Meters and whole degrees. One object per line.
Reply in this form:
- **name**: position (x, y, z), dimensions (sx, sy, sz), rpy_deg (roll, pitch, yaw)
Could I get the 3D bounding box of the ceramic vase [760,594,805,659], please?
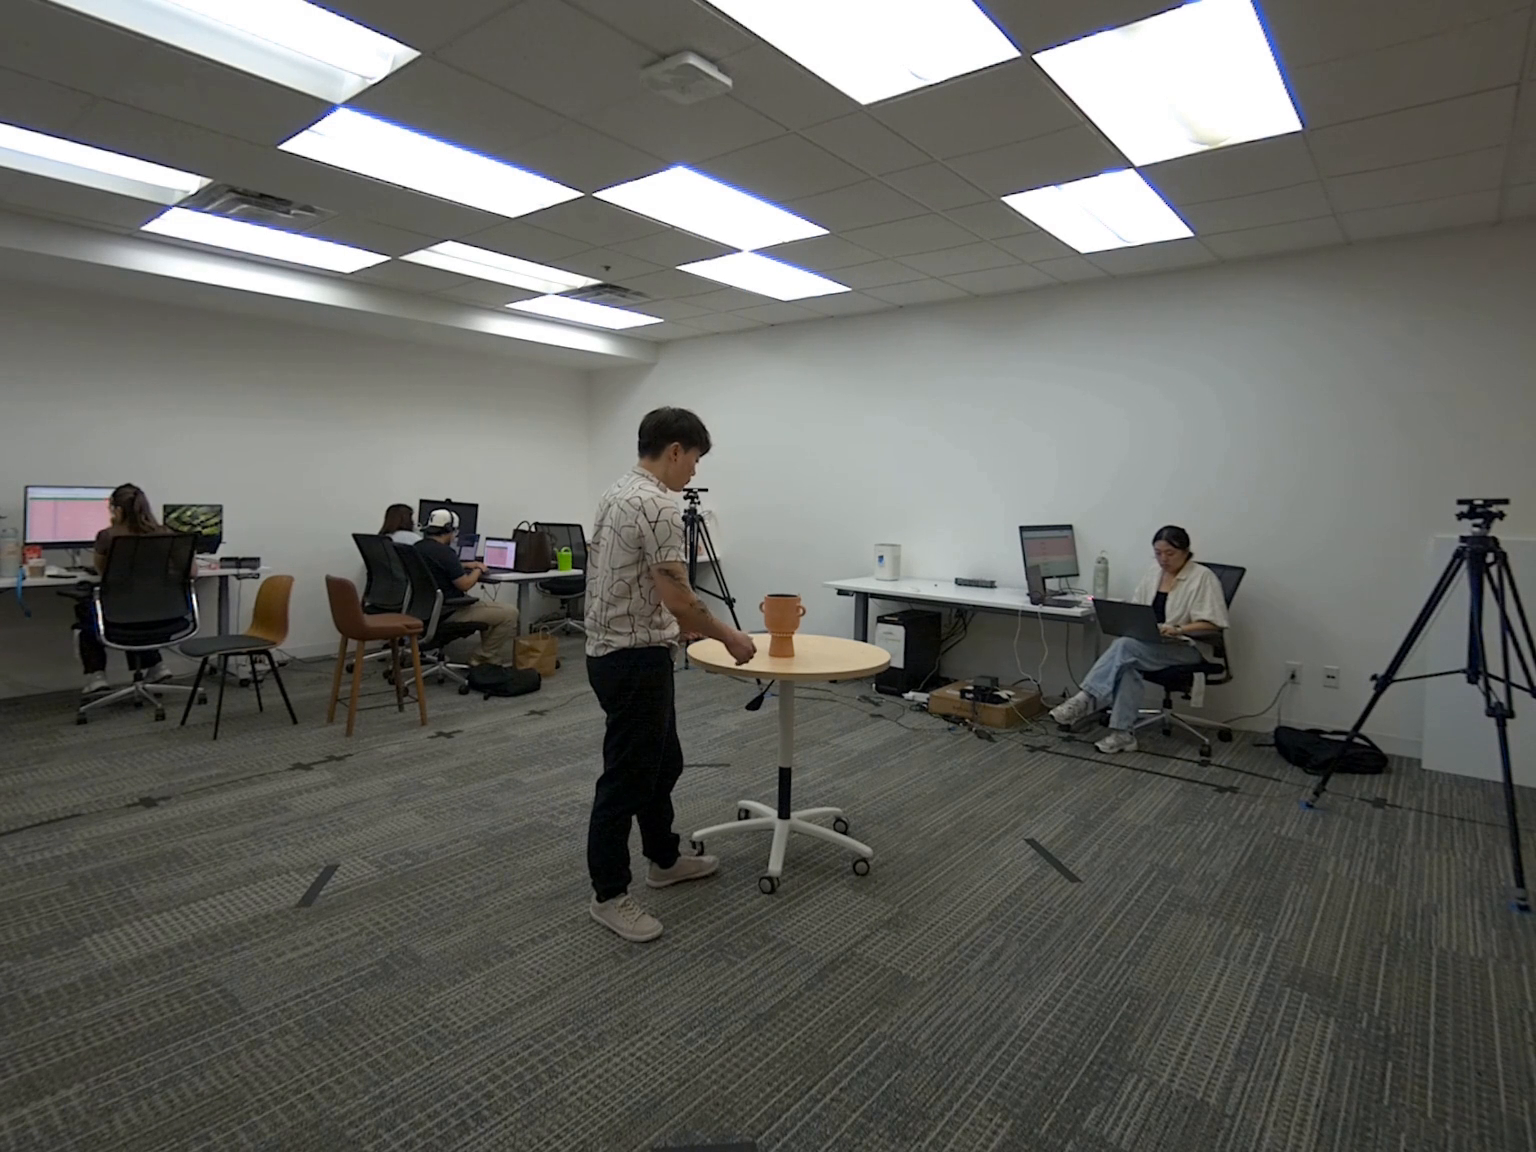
- **ceramic vase**: position (0.044, 0.183, 3.138), dimensions (0.132, 0.219, 0.162), rpy_deg (0, 5, -18)
